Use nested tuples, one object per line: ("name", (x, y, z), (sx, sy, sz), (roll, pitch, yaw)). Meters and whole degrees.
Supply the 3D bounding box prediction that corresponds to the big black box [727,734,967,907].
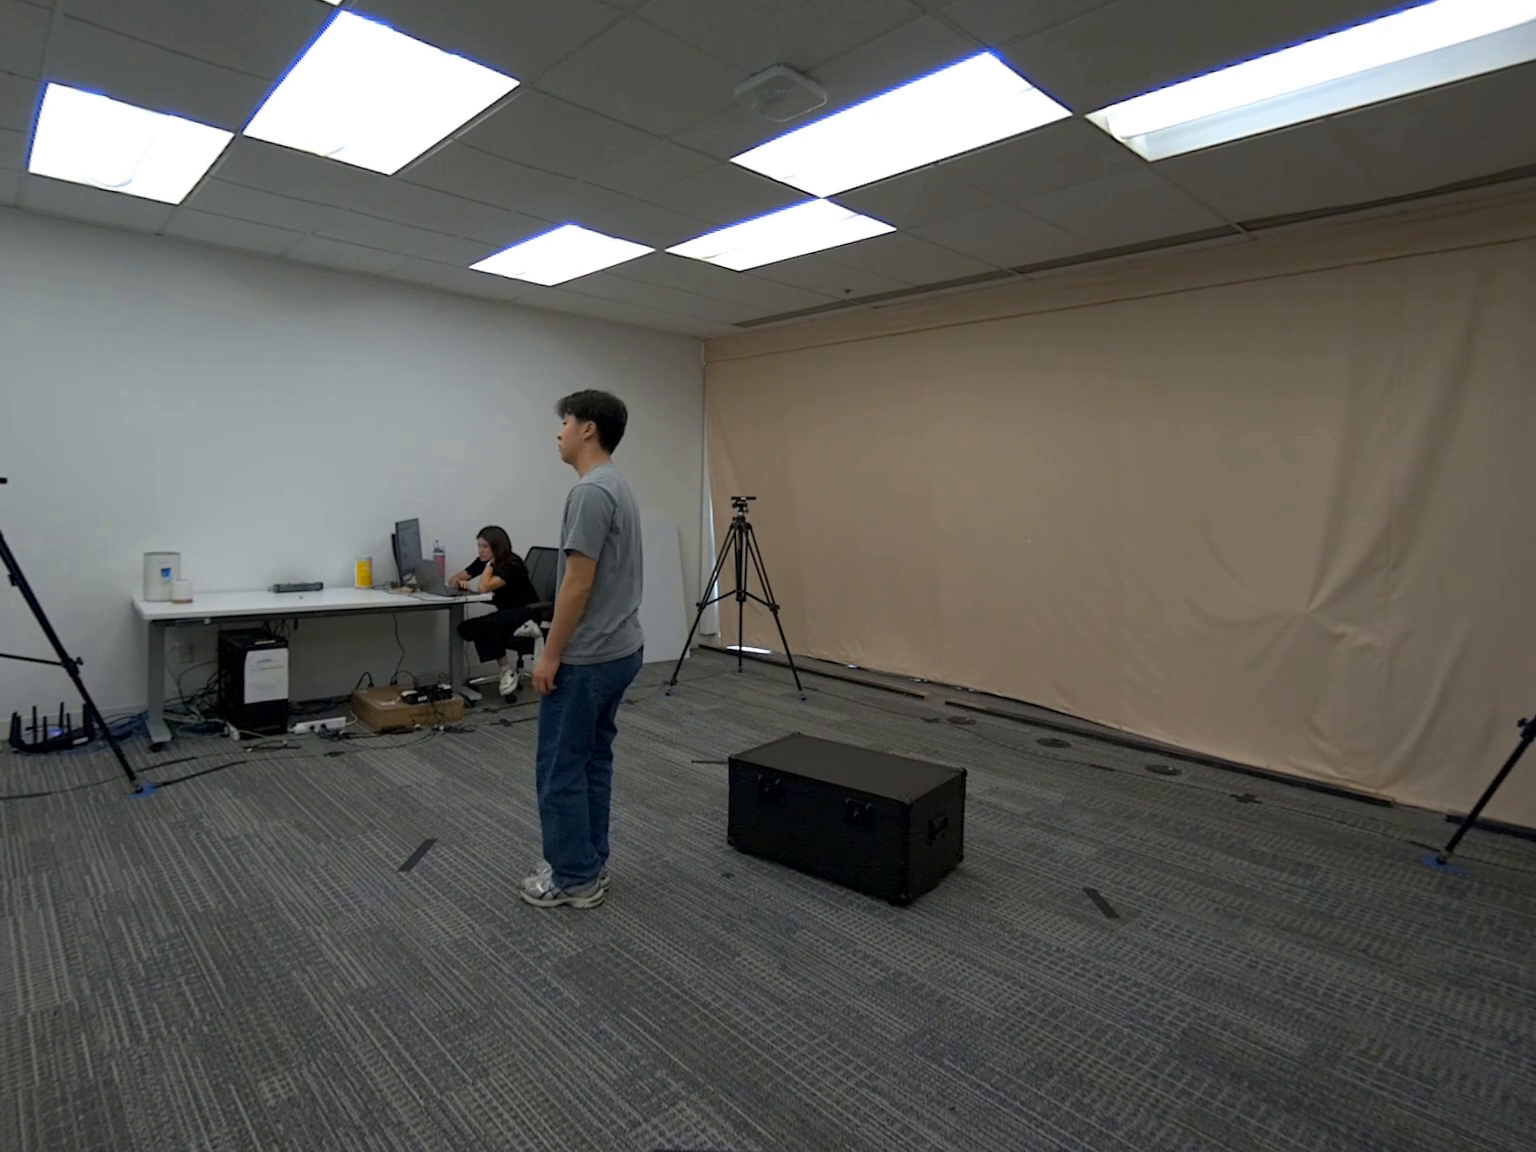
("big black box", (0.265, 0.909, 3.293), (0.882, 0.395, 0.510), (5, 6, 37))
